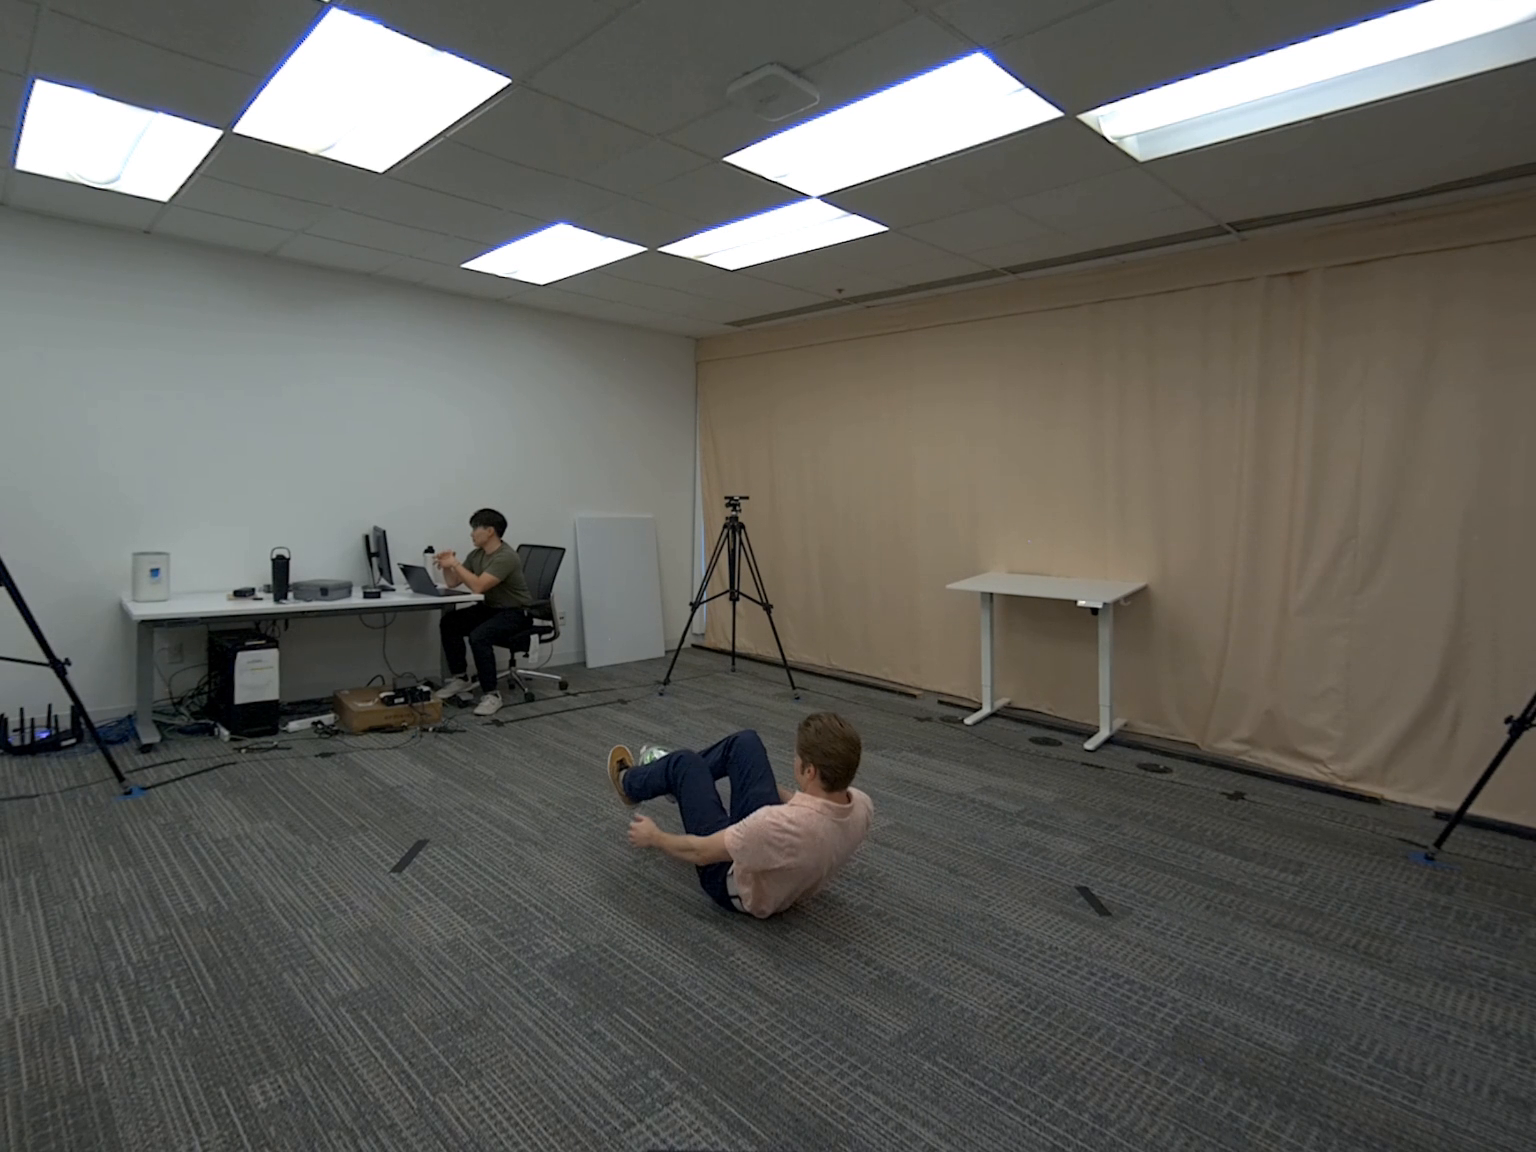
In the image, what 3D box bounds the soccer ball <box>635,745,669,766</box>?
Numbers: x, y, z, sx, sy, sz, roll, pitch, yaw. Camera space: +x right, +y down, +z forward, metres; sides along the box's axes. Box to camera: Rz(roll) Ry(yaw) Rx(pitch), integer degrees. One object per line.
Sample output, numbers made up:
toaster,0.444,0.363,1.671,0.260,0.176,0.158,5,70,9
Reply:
soccer ball,-0.431,0.771,3.308,0.187,0.187,0.188,1,4,-1
